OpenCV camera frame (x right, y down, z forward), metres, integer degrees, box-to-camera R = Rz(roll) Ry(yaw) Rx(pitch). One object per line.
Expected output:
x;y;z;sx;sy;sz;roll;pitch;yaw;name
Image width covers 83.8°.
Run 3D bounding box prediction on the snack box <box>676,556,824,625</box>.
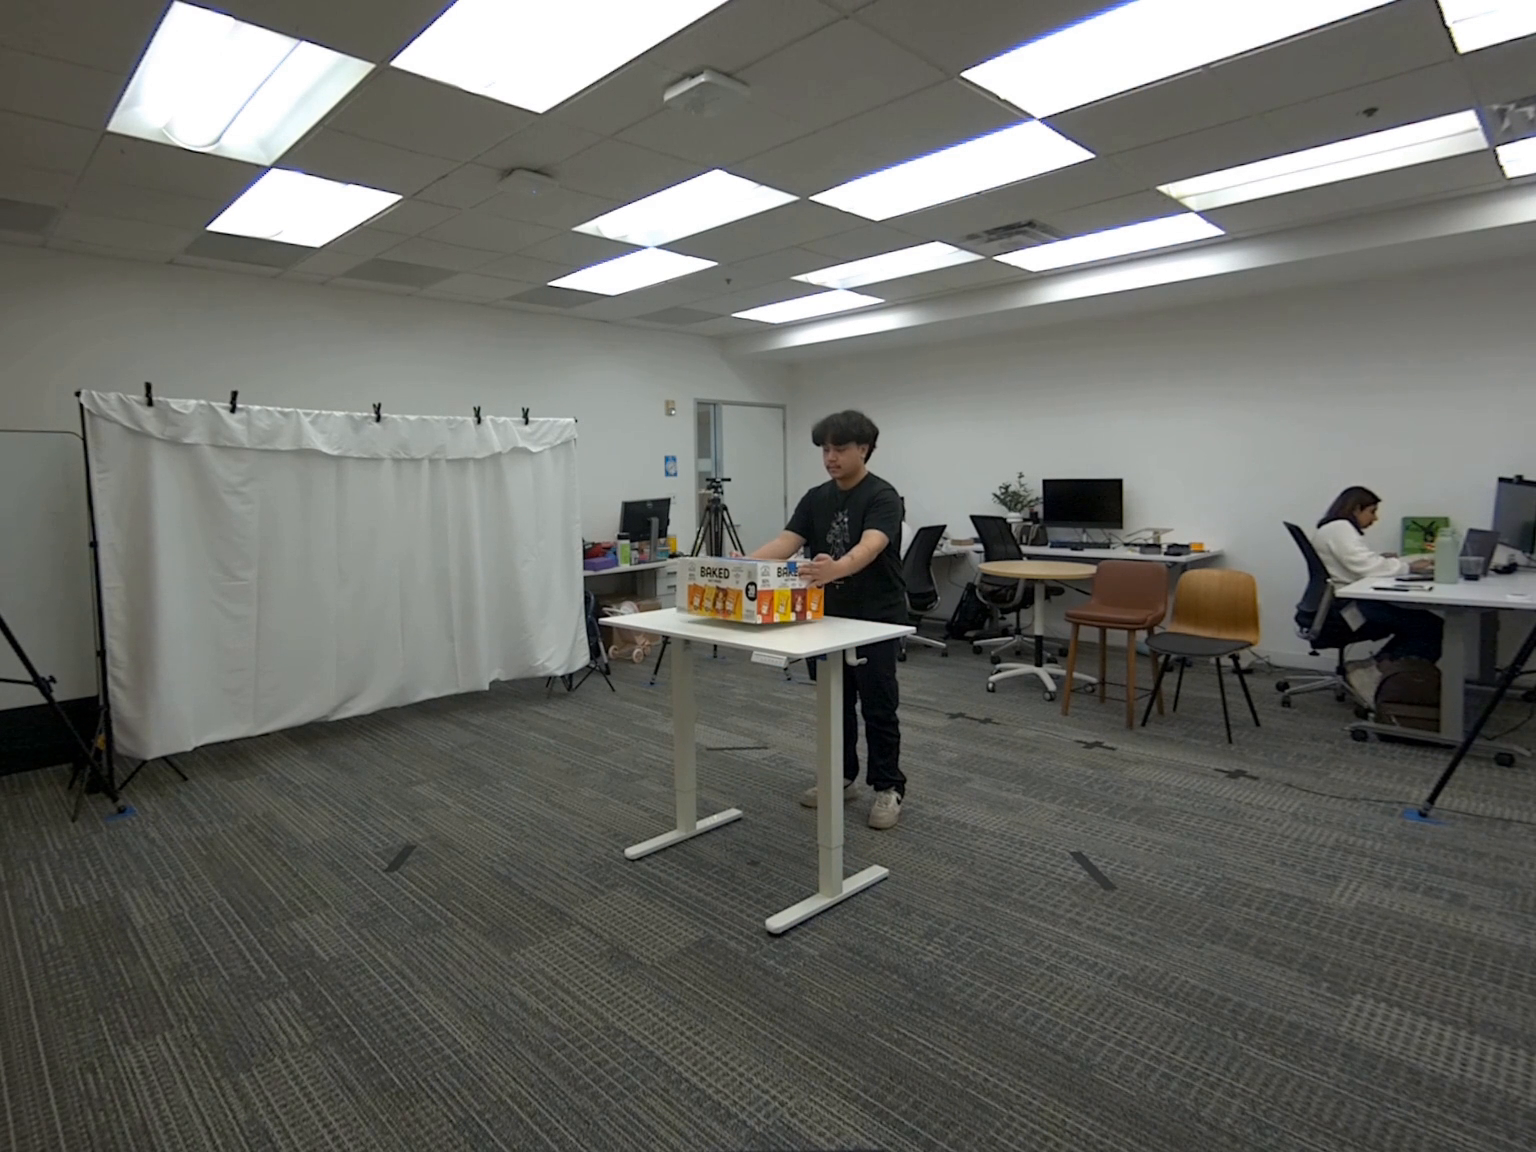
-0.065;0.039;3.053;0.330;0.205;0.417;-1;3;-45;snack box
